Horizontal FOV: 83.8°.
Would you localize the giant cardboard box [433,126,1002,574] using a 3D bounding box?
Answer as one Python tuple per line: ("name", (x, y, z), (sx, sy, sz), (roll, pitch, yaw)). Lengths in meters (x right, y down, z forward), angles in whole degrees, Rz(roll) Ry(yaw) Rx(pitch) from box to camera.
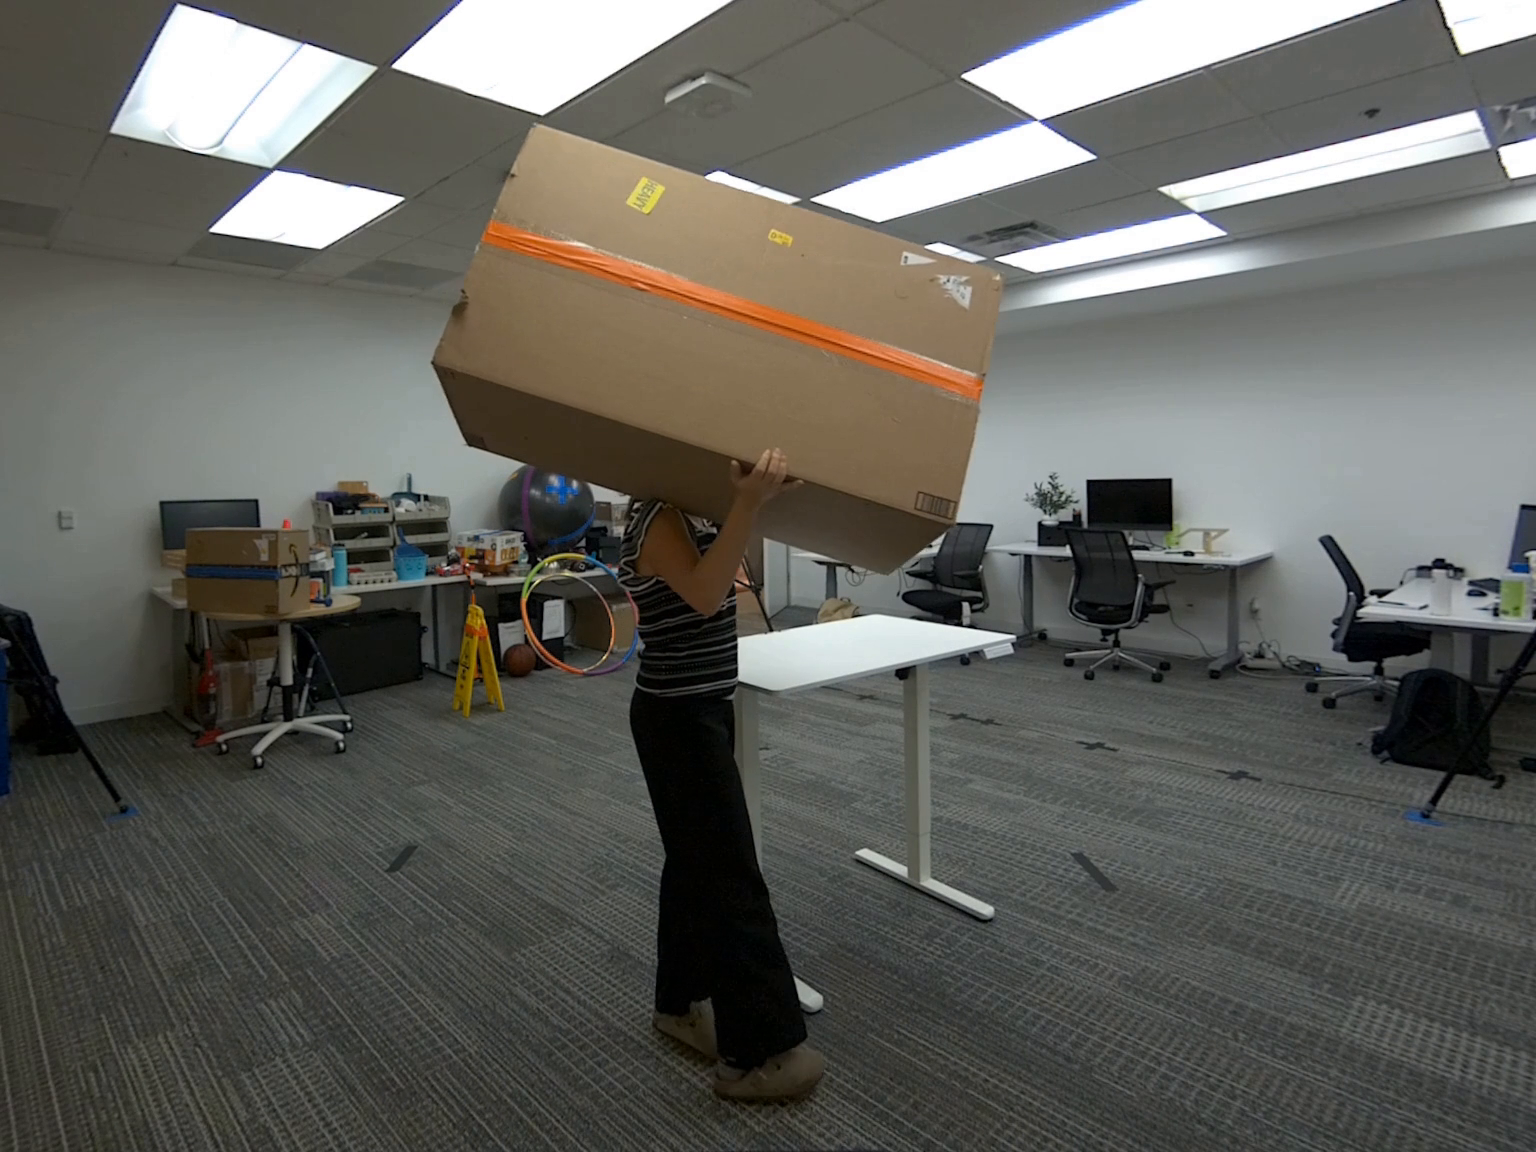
("giant cardboard box", (-0.093, -0.458, 1.862), (1.023, 0.583, 0.423), (16, -17, -2))
